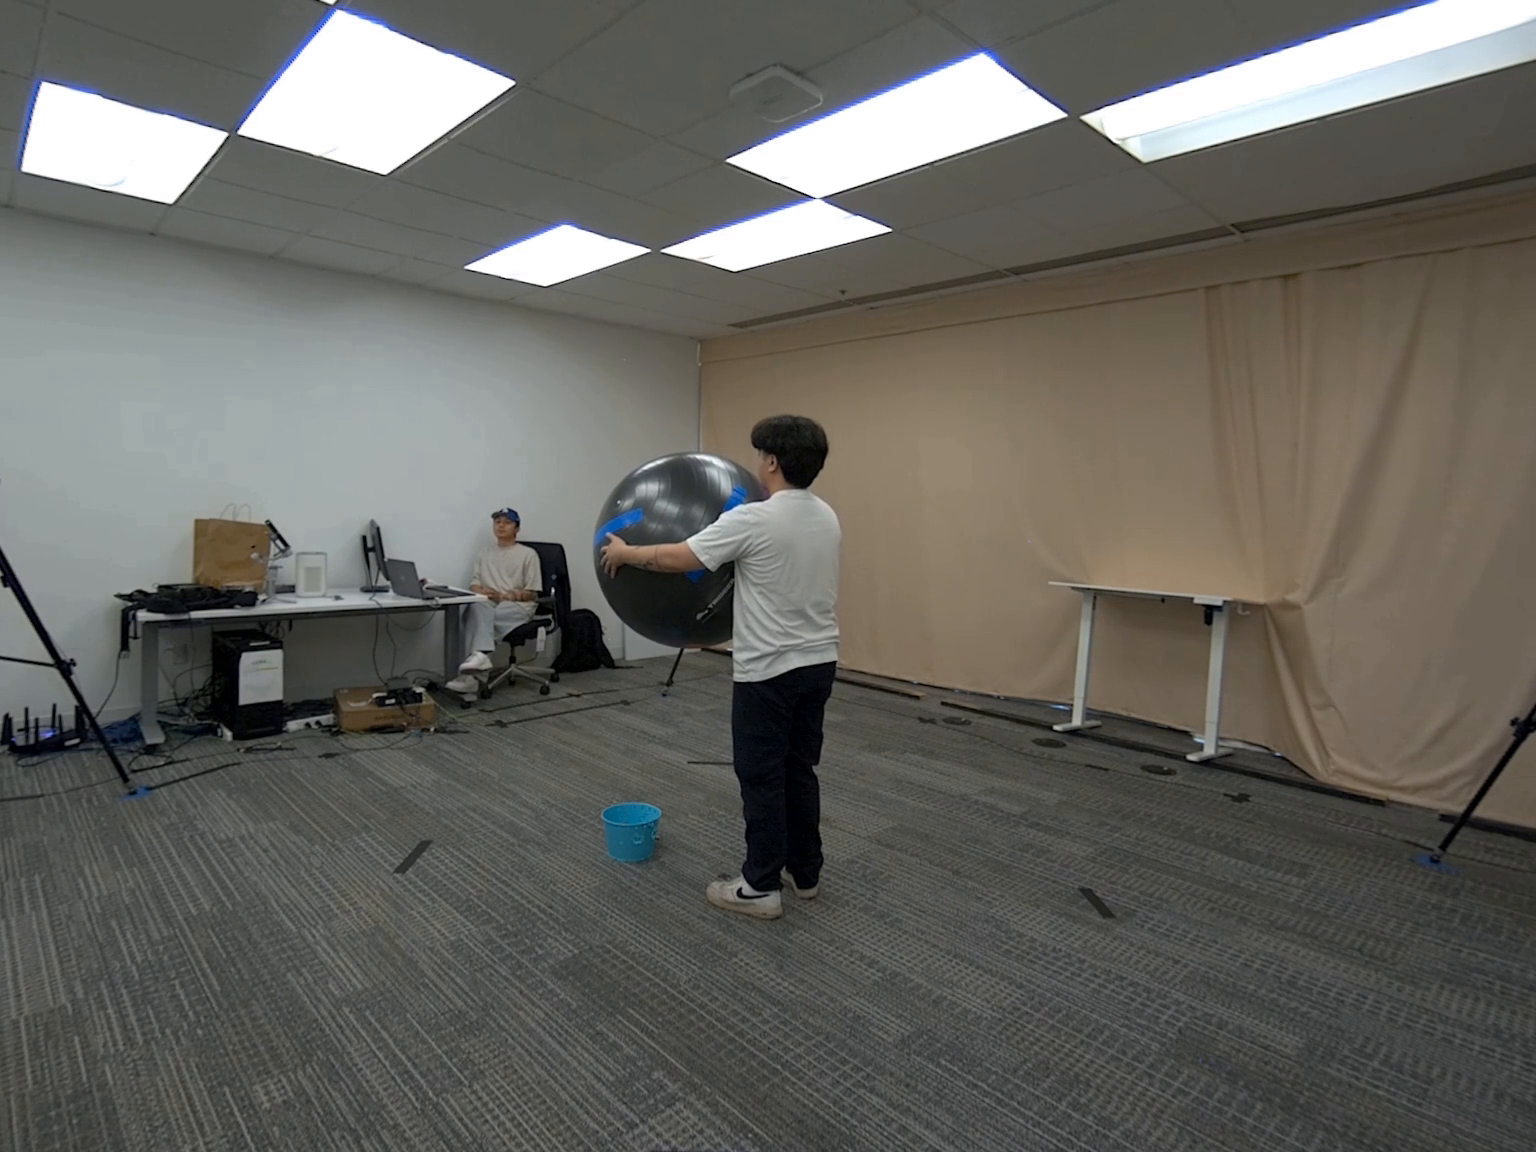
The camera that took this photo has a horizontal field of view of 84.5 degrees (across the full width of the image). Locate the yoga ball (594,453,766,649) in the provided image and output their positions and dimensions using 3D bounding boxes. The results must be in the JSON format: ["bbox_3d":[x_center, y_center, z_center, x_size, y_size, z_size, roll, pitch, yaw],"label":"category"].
[{"bbox_3d":[-0.305,-0.094,3.286,0.757,0.756,0.760,1,4,-1],"label":"yoga ball"}]
